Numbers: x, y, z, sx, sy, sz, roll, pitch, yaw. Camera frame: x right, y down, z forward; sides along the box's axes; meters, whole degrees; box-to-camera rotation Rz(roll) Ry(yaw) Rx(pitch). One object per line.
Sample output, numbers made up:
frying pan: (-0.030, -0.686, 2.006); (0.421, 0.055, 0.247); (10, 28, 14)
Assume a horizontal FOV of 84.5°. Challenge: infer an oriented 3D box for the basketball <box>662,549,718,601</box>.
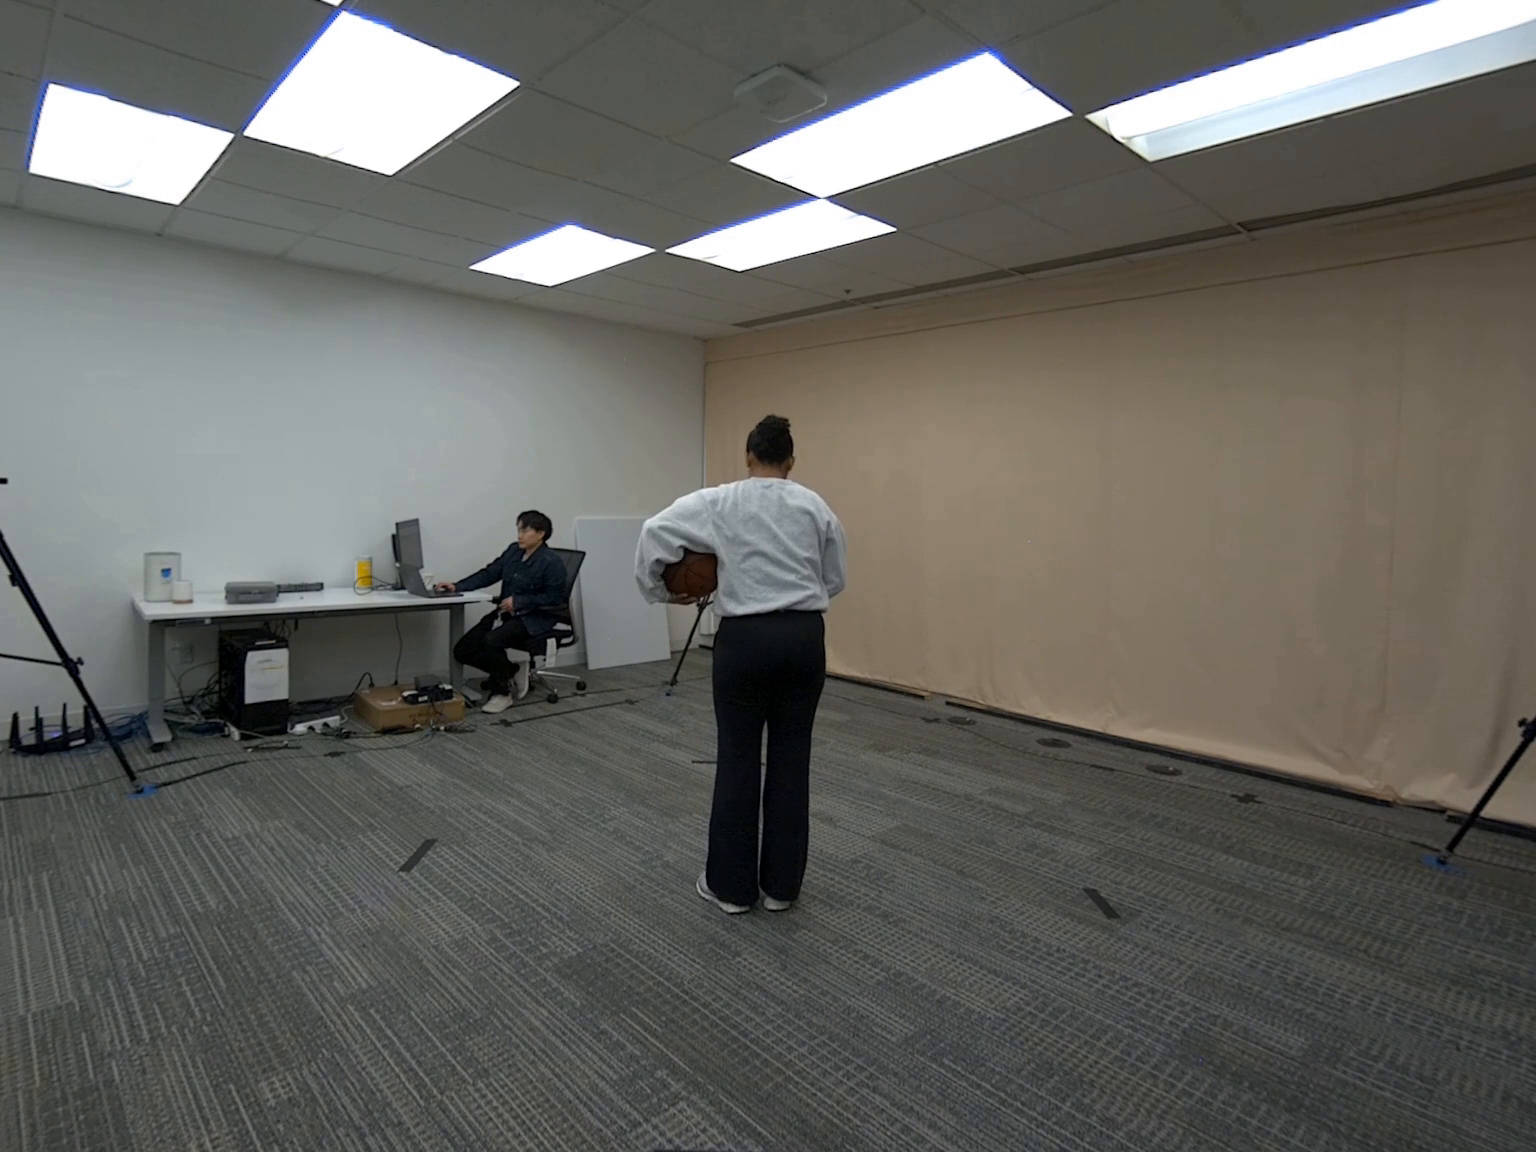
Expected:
basketball: (-0.262, -0.037, 2.879); (0.236, 0.235, 0.237); (1, 4, -1)
